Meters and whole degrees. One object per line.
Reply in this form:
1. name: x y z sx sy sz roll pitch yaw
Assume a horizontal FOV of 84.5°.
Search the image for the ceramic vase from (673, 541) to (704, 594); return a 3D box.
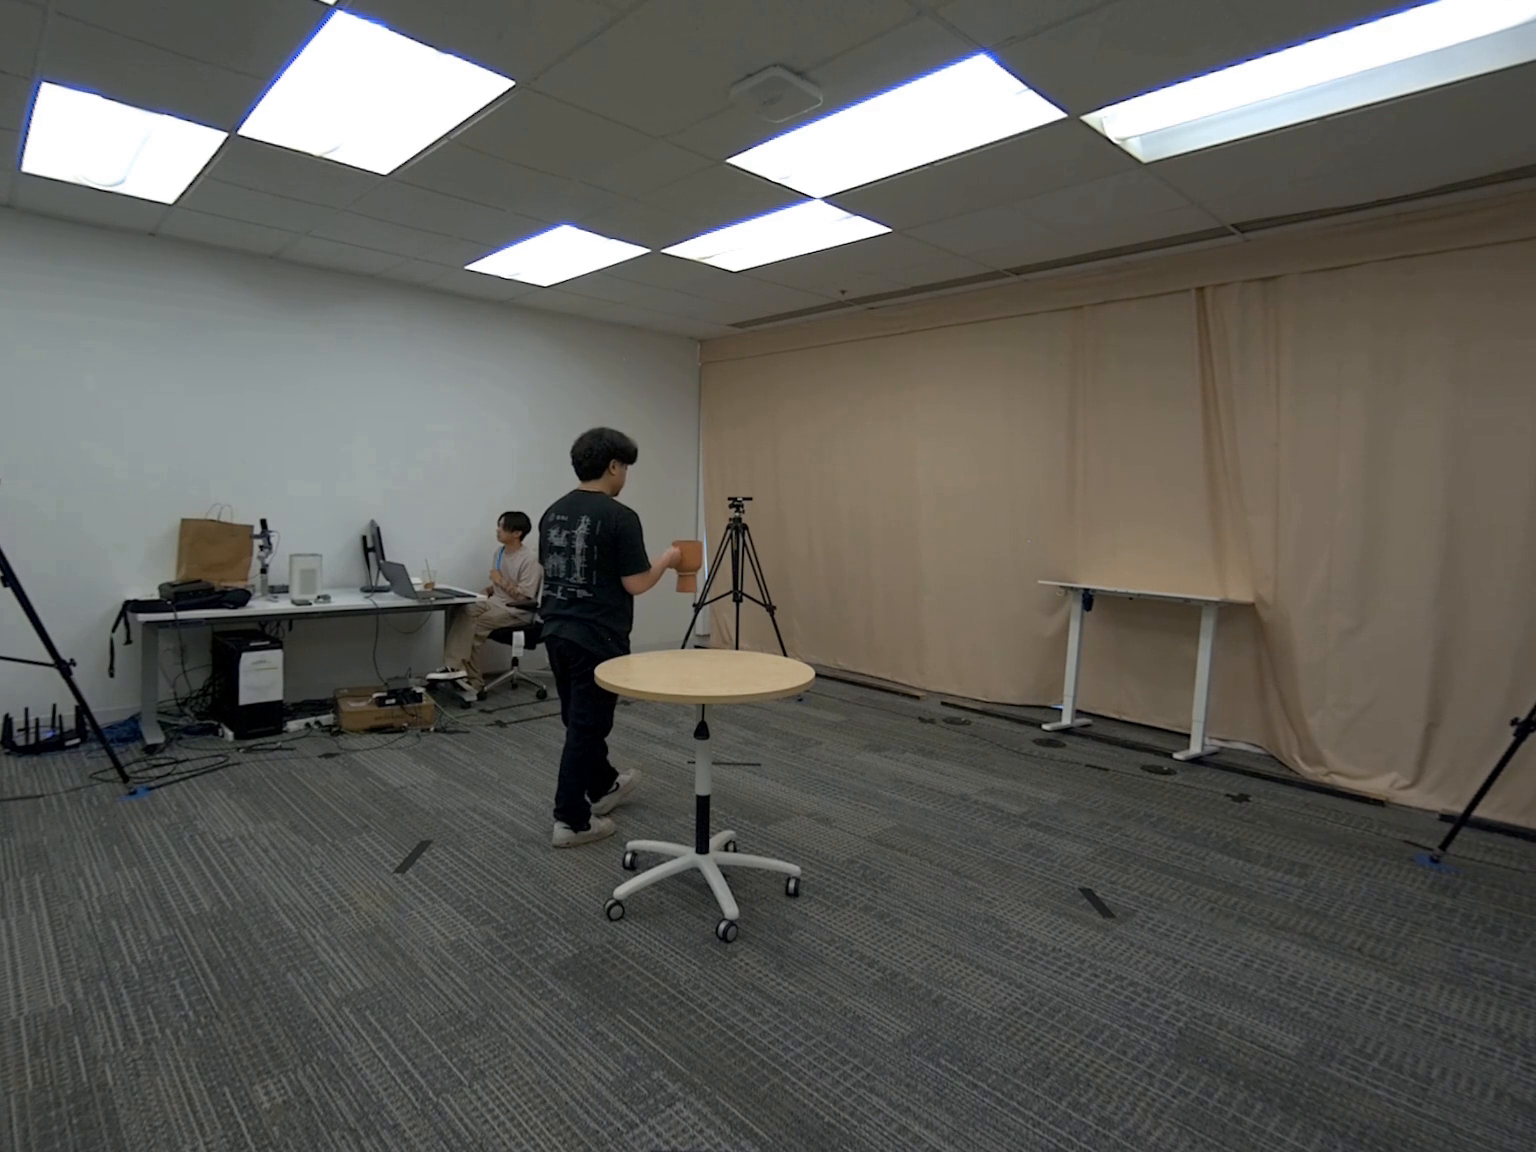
1. ceramic vase: -0.365 -0.045 3.667 0.156 0.219 0.137 -1 5 -21
